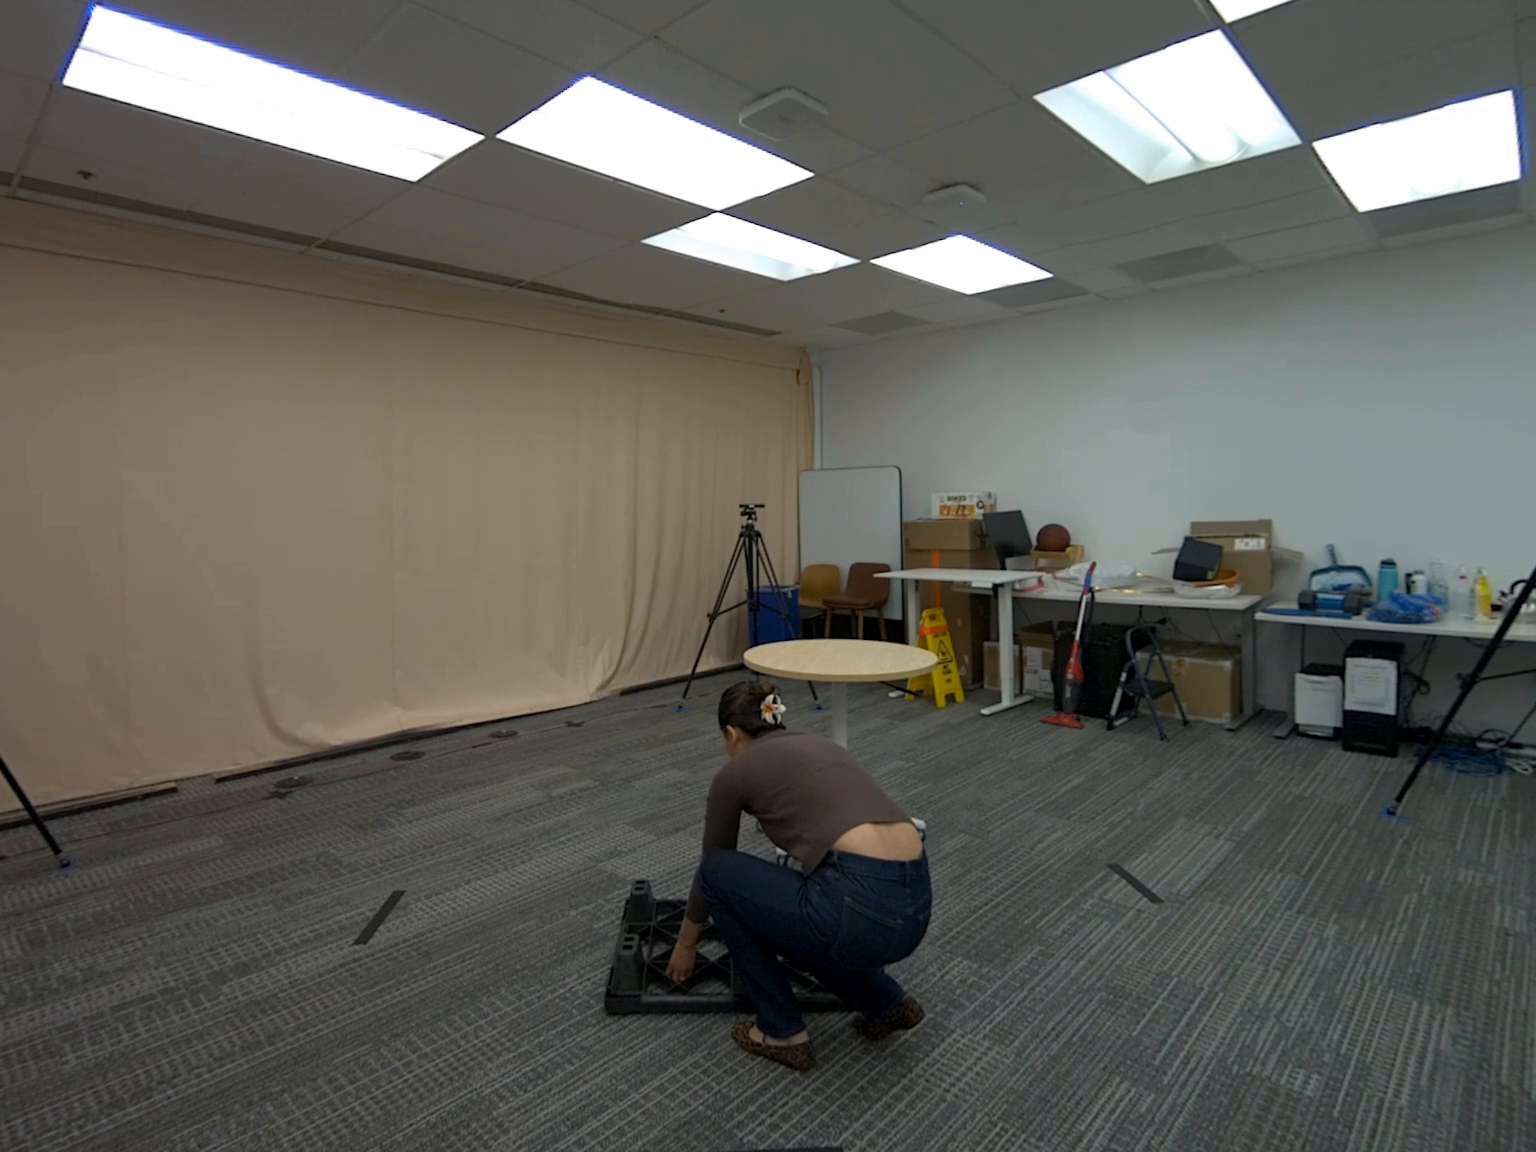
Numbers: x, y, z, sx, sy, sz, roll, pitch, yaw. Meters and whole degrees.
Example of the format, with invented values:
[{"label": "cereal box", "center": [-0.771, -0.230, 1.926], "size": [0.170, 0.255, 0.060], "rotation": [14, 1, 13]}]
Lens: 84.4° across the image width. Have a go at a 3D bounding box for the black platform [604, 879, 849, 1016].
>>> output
[{"label": "black platform", "center": [-0.072, 1.103, 2.592], "size": [0.804, 0.143, 0.607], "rotation": [-1, 4, -2]}]
